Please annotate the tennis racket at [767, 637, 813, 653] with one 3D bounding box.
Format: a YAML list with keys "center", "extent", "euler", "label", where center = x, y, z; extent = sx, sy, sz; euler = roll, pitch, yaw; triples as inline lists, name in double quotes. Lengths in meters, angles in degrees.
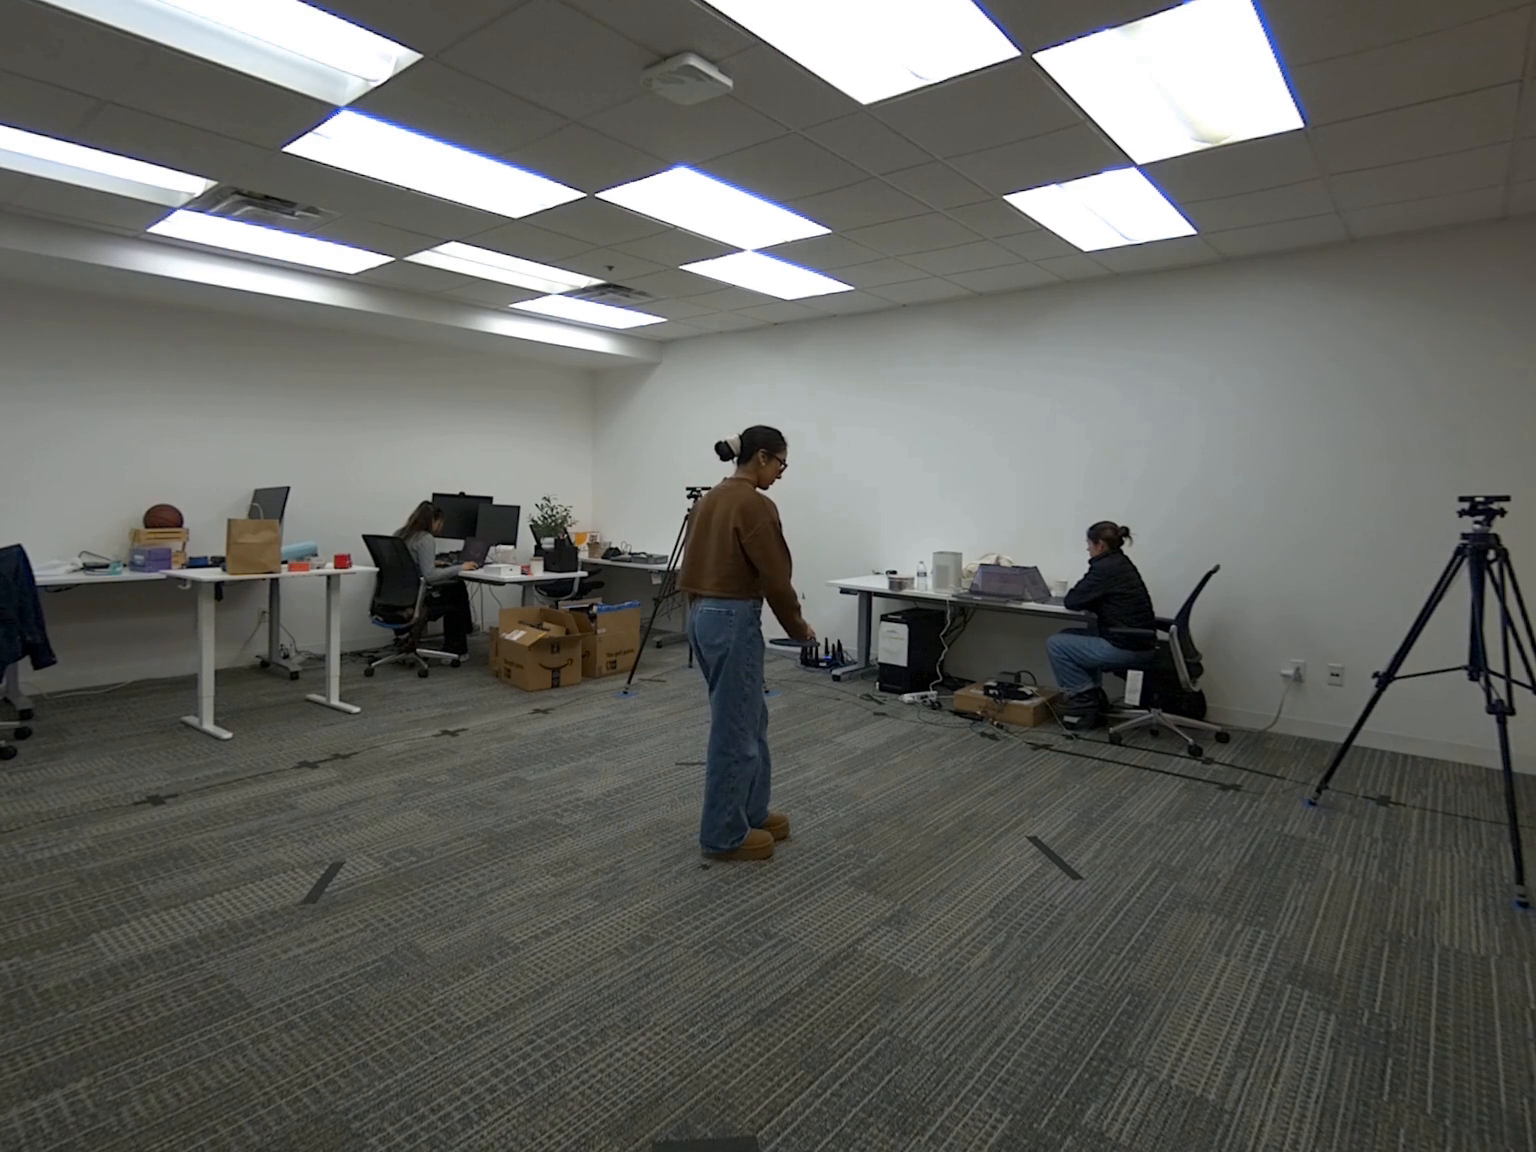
- center: [0.092, 0.270, 3.442]
  extent: [0.214, 0.032, 0.429]
  euler: [1, -7, -1]
  label: "tennis racket"
